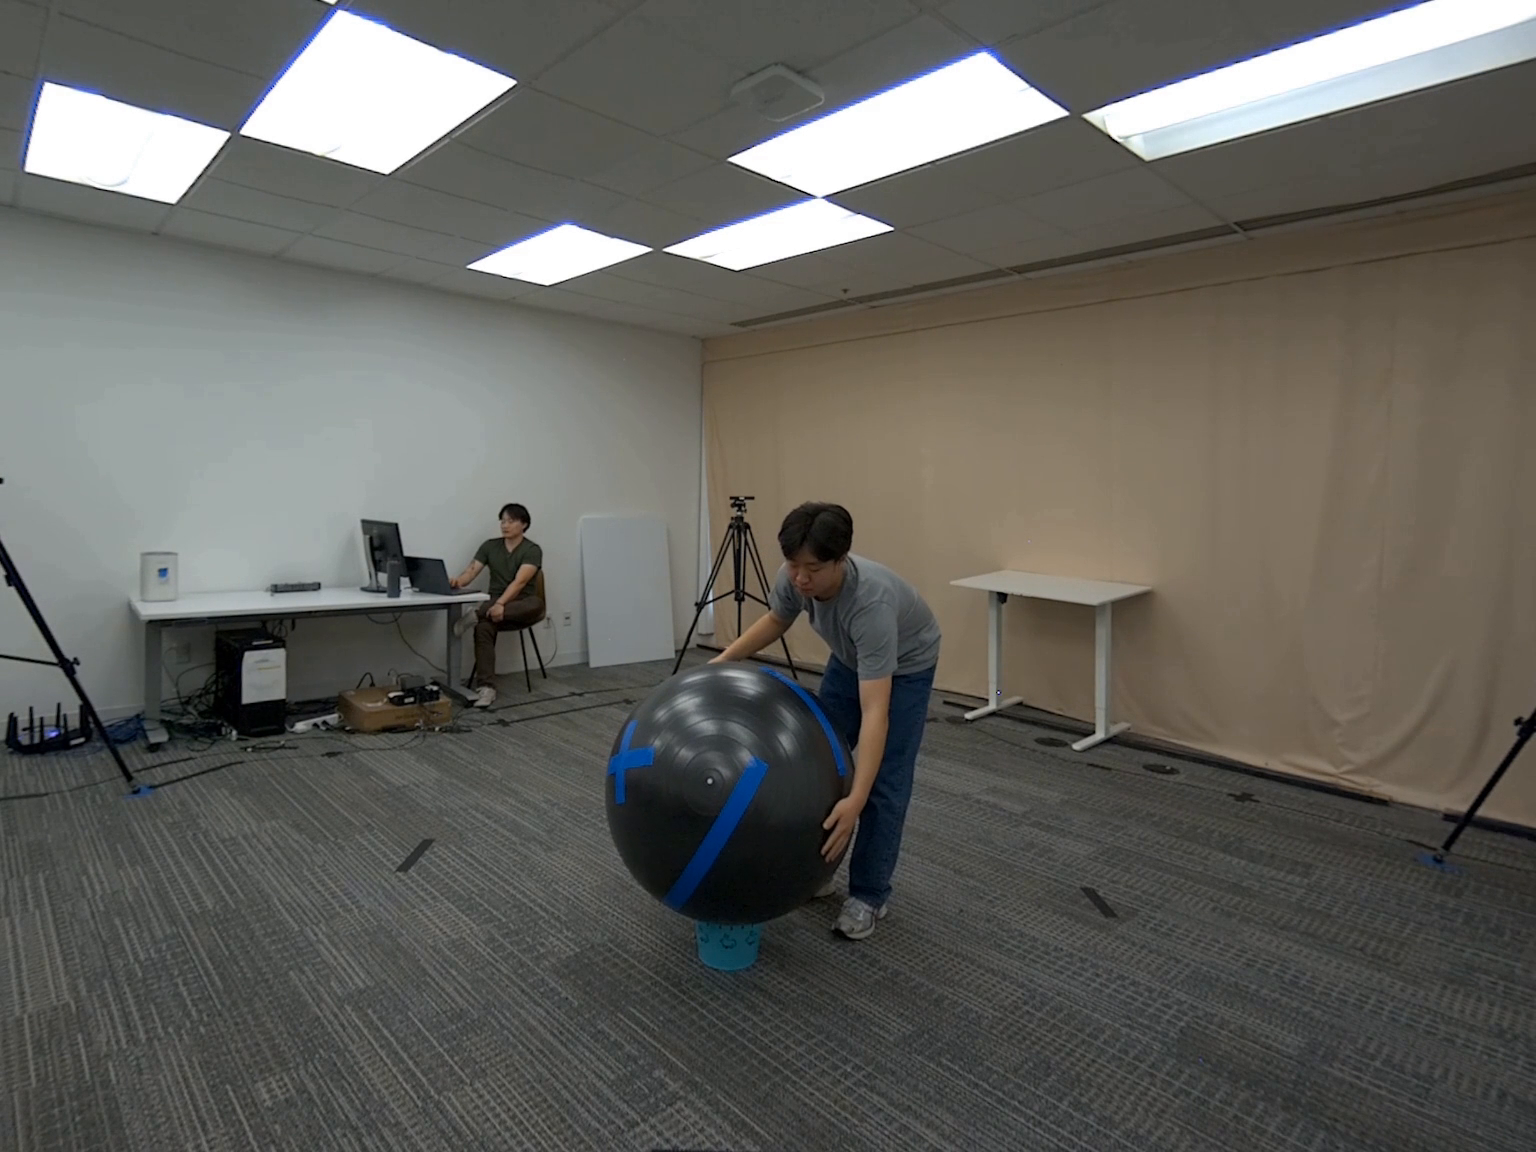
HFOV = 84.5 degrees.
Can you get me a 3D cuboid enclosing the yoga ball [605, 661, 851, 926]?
[{"bbox_3d":[-0.113,0.646,2.540,0.757,0.756,0.761,1,4,-1],"label":"yoga ball"}]
